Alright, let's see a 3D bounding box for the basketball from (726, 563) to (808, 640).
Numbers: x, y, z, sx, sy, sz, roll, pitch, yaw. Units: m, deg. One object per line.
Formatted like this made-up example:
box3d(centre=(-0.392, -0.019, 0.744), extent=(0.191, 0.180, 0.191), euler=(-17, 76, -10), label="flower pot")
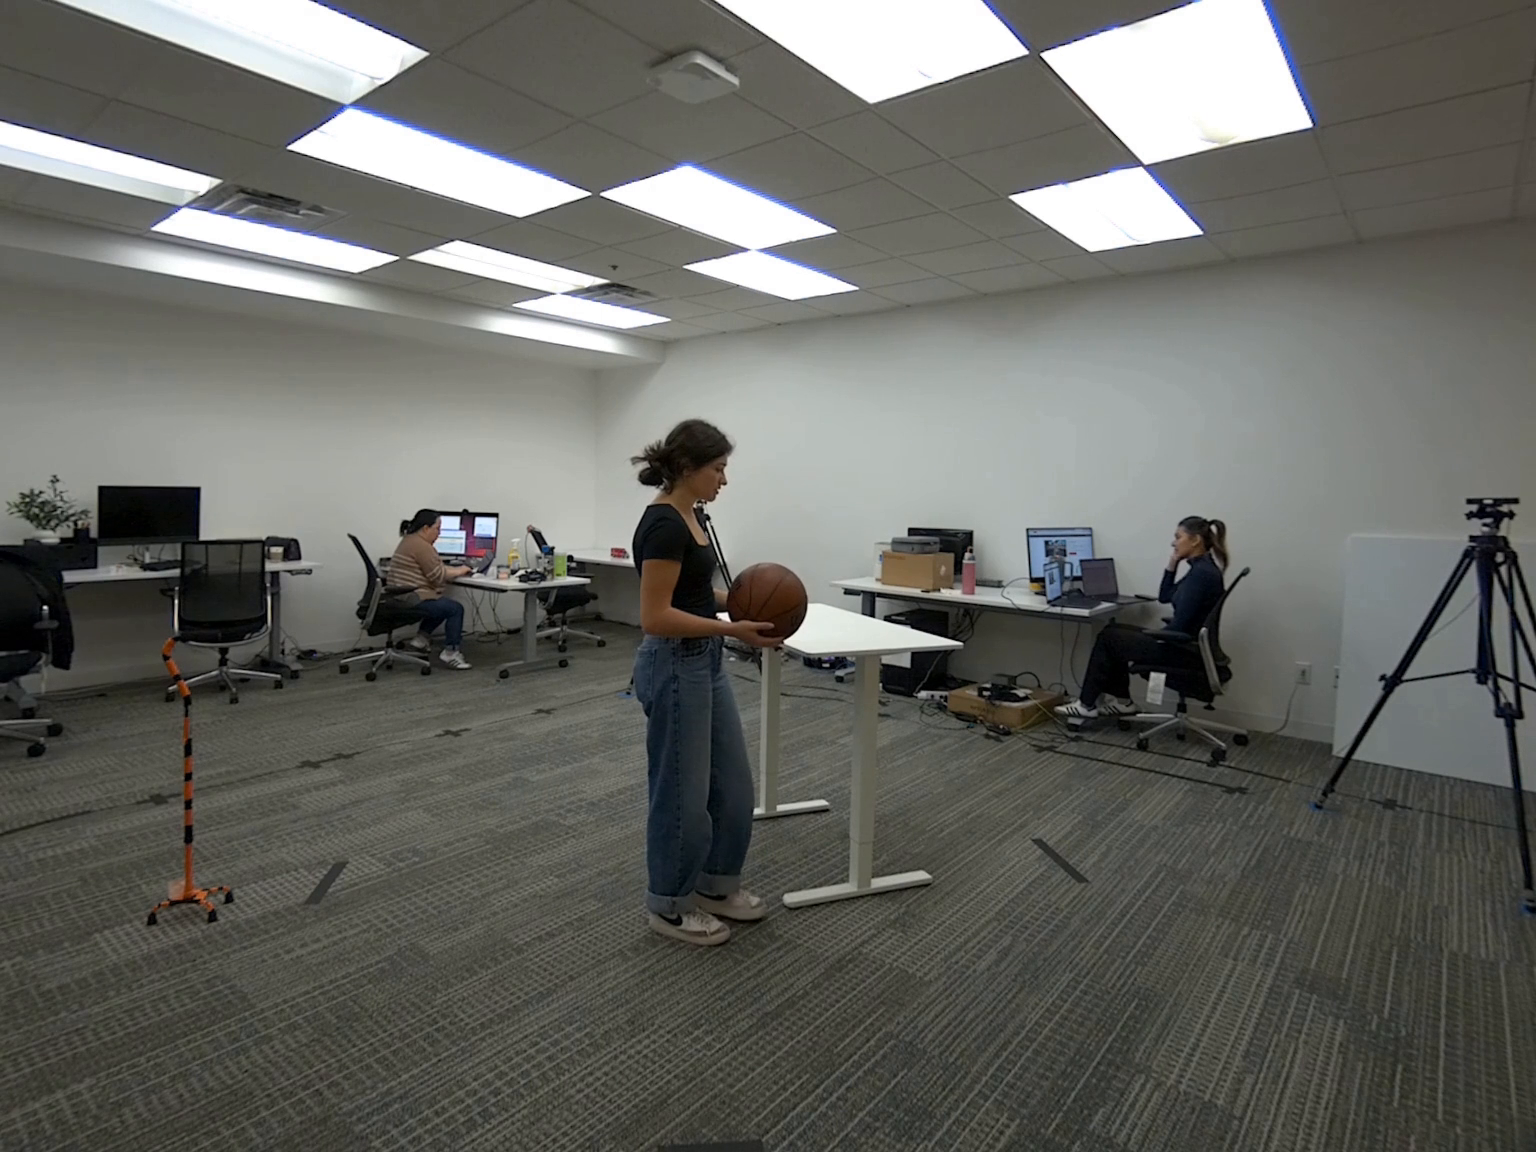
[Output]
box3d(centre=(-0.014, 0.081, 2.500), extent=(0.235, 0.235, 0.237), euler=(1, 4, -2), label="basketball")
